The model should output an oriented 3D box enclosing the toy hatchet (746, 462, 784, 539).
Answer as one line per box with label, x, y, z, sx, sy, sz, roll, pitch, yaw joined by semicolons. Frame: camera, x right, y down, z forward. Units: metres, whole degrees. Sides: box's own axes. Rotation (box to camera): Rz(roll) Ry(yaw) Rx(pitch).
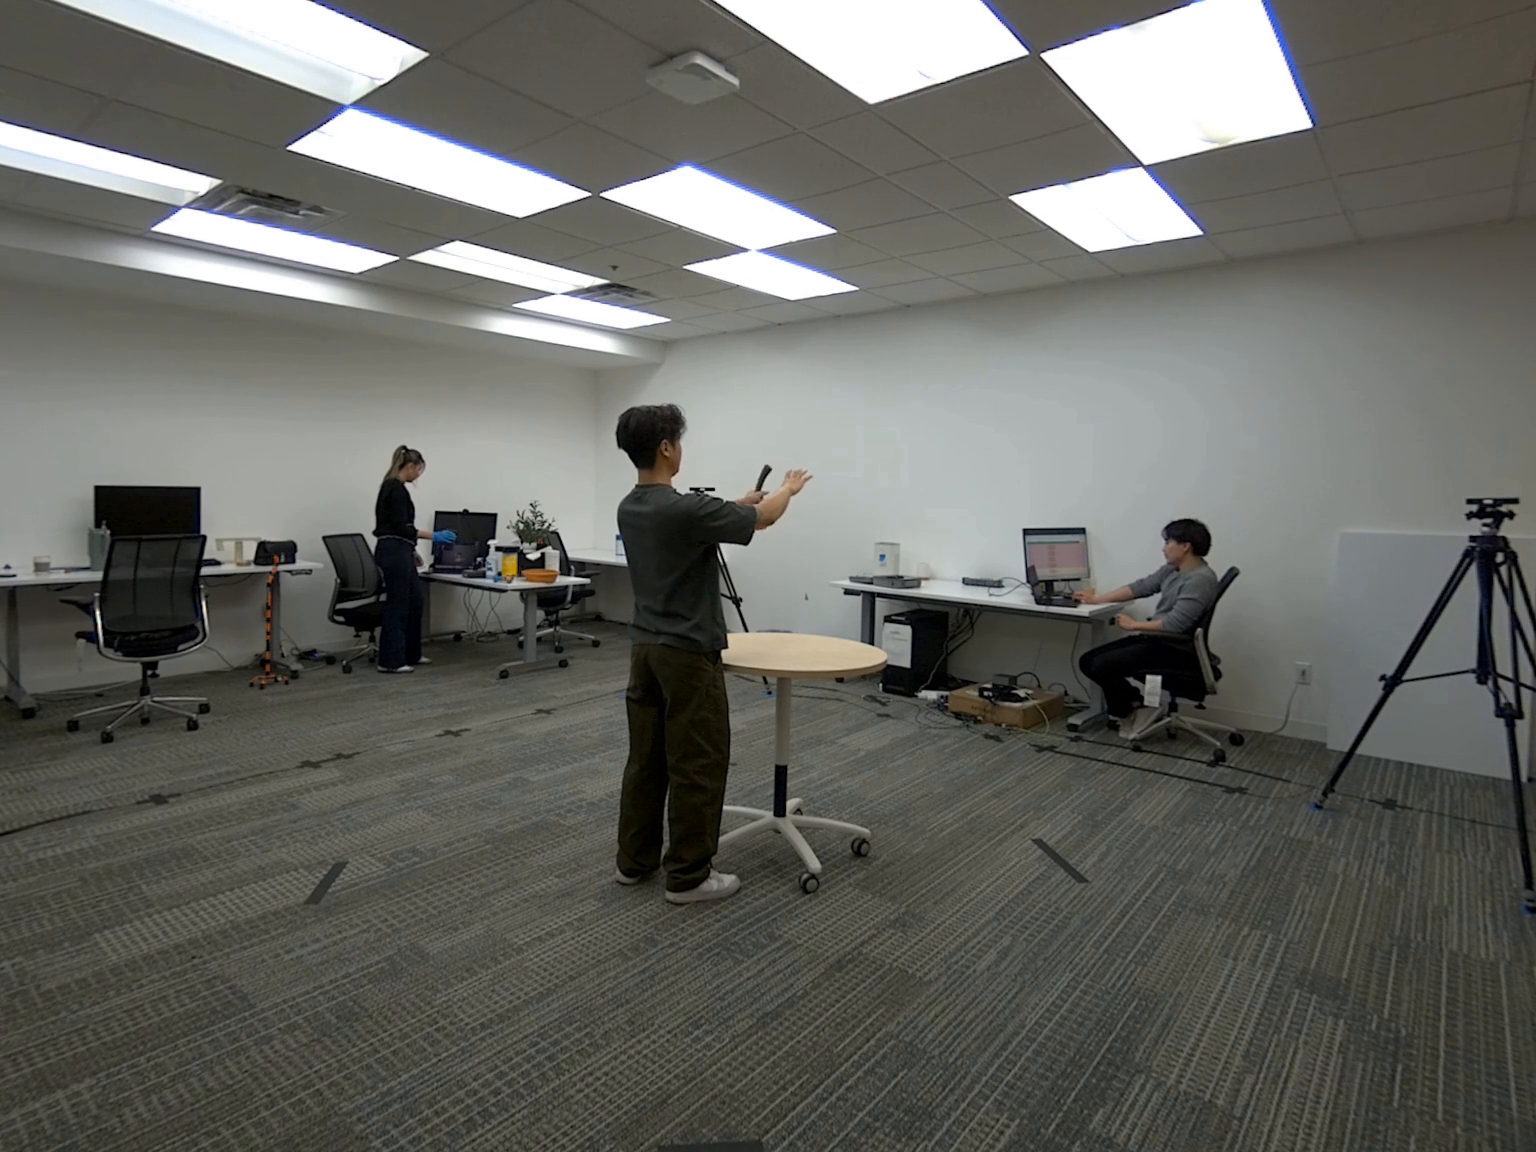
toy hatchet;-0.036;-0.302;3.334;0.028;0.268;0.137;8;18;-43
